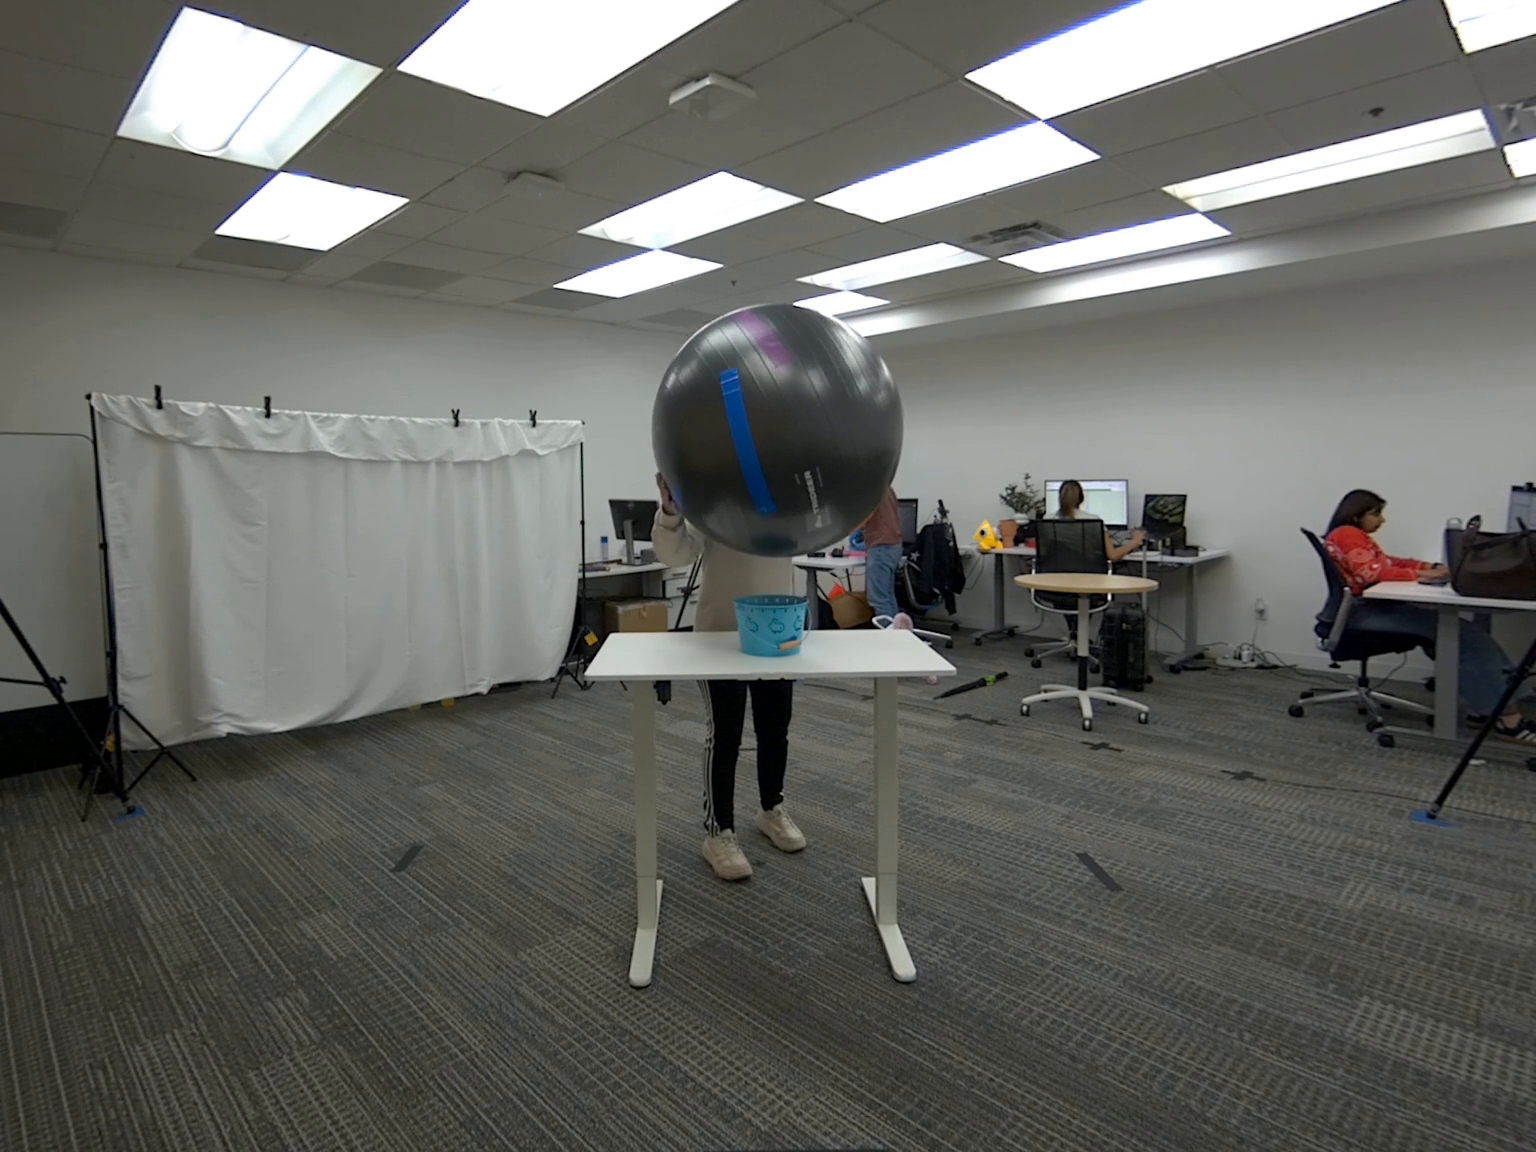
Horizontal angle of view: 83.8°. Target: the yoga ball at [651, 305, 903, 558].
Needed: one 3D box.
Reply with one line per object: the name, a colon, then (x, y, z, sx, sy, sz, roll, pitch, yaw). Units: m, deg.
yoga ball: (0.031, -0.435, 2.587, 0.757, 0.755, 0.762, -1, 5, -2)
